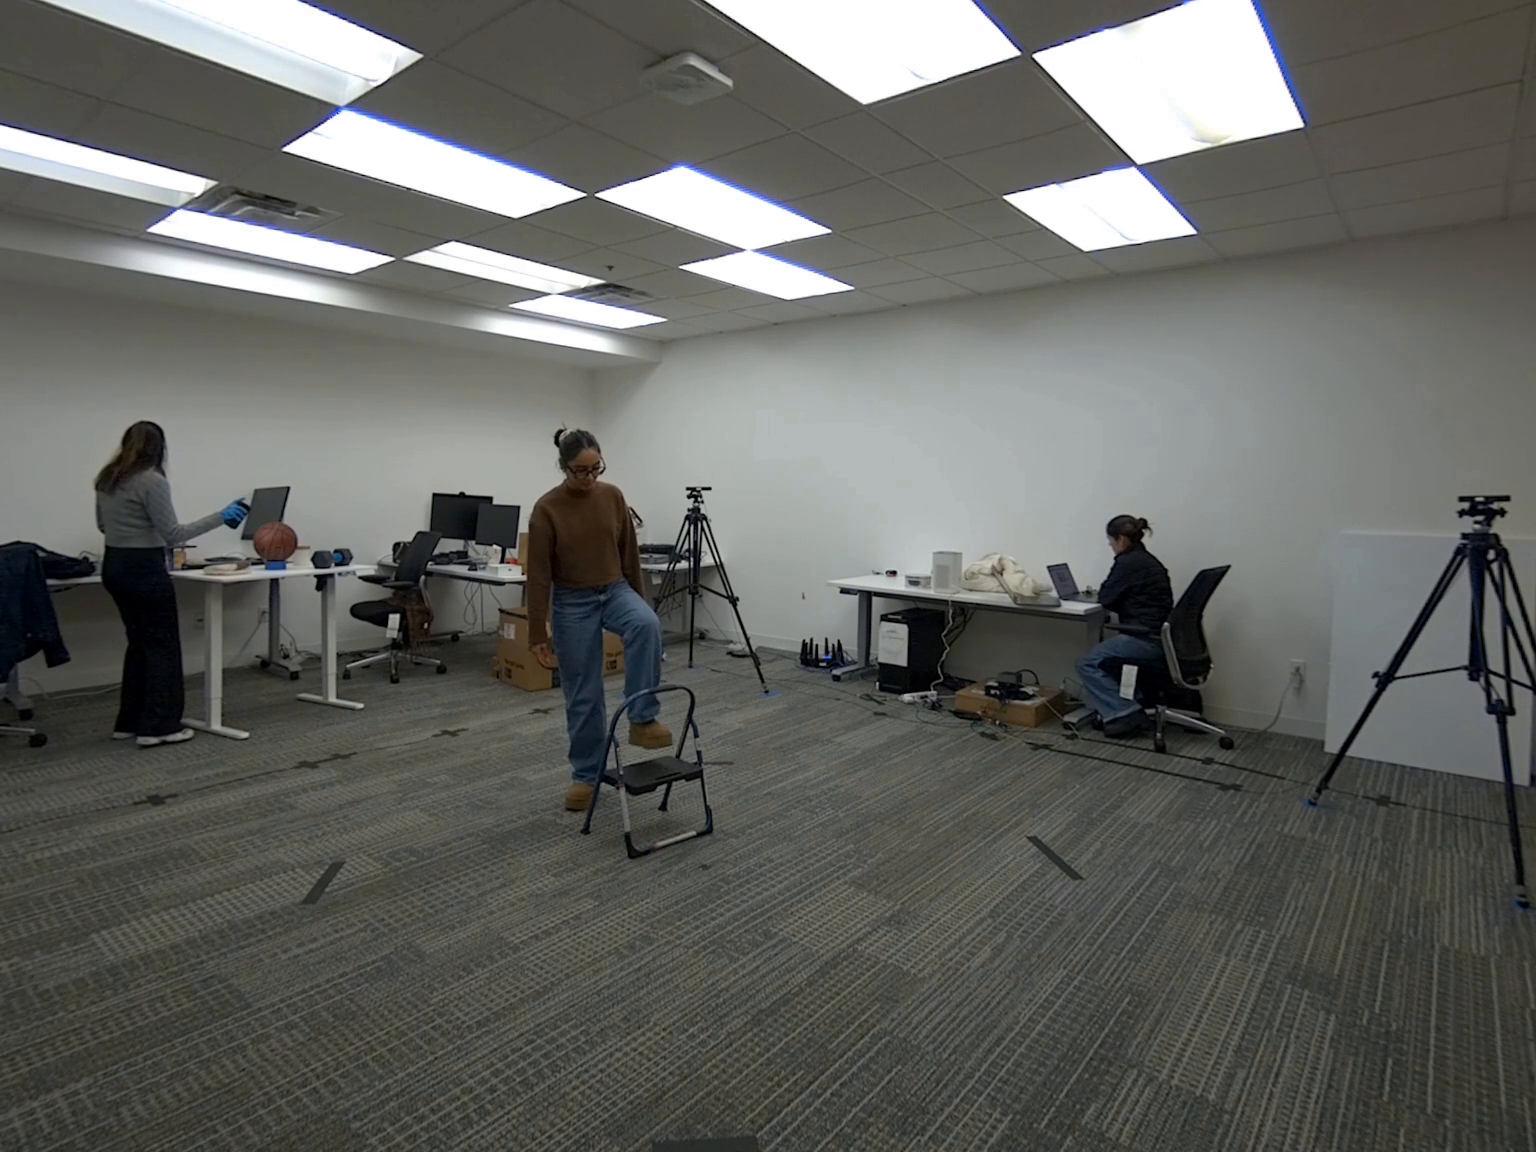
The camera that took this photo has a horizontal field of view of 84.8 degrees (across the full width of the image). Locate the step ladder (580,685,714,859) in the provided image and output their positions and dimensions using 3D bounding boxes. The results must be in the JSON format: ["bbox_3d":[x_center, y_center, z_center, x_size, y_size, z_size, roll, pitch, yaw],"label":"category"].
[{"bbox_3d":[-0.489,0.727,3.414,0.417,0.604,0.361,-2,5,-44],"label":"step ladder"}]
